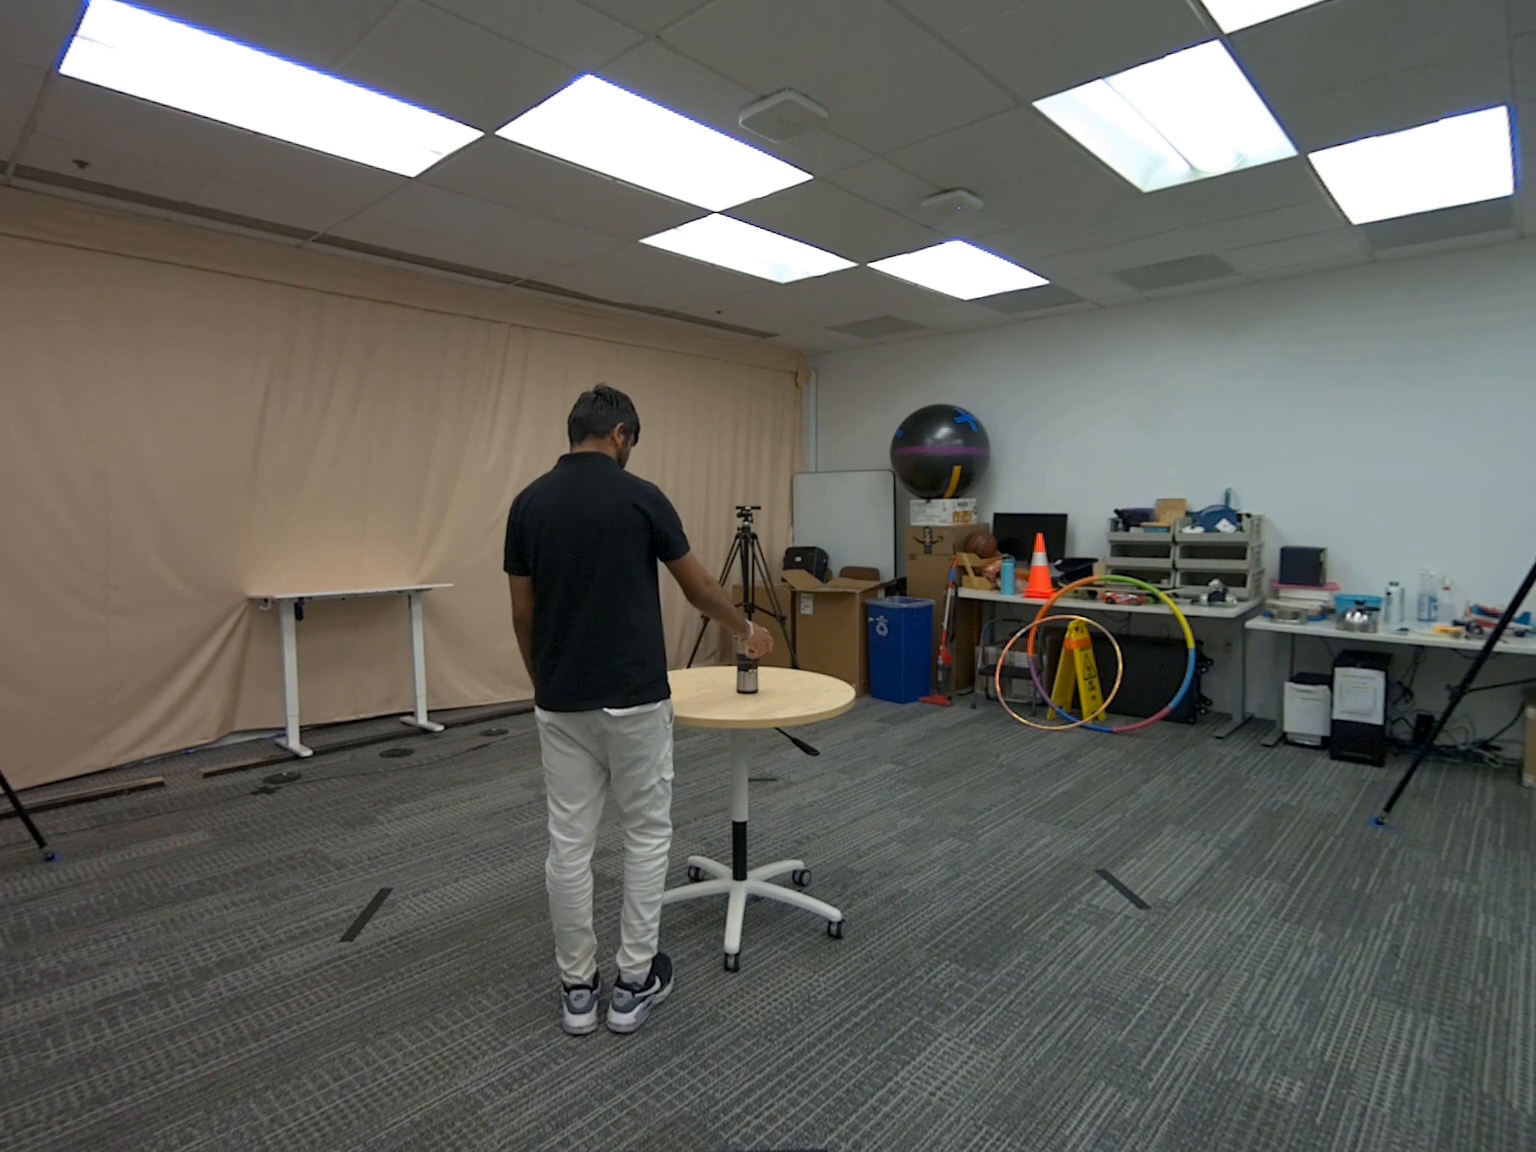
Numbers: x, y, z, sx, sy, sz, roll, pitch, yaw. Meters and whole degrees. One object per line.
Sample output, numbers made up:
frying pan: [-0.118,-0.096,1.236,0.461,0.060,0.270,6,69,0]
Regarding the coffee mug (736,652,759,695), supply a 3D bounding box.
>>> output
coffee mug: [-0.072,0.286,2.728,0.089,0.203,0.120,5,2,14]
